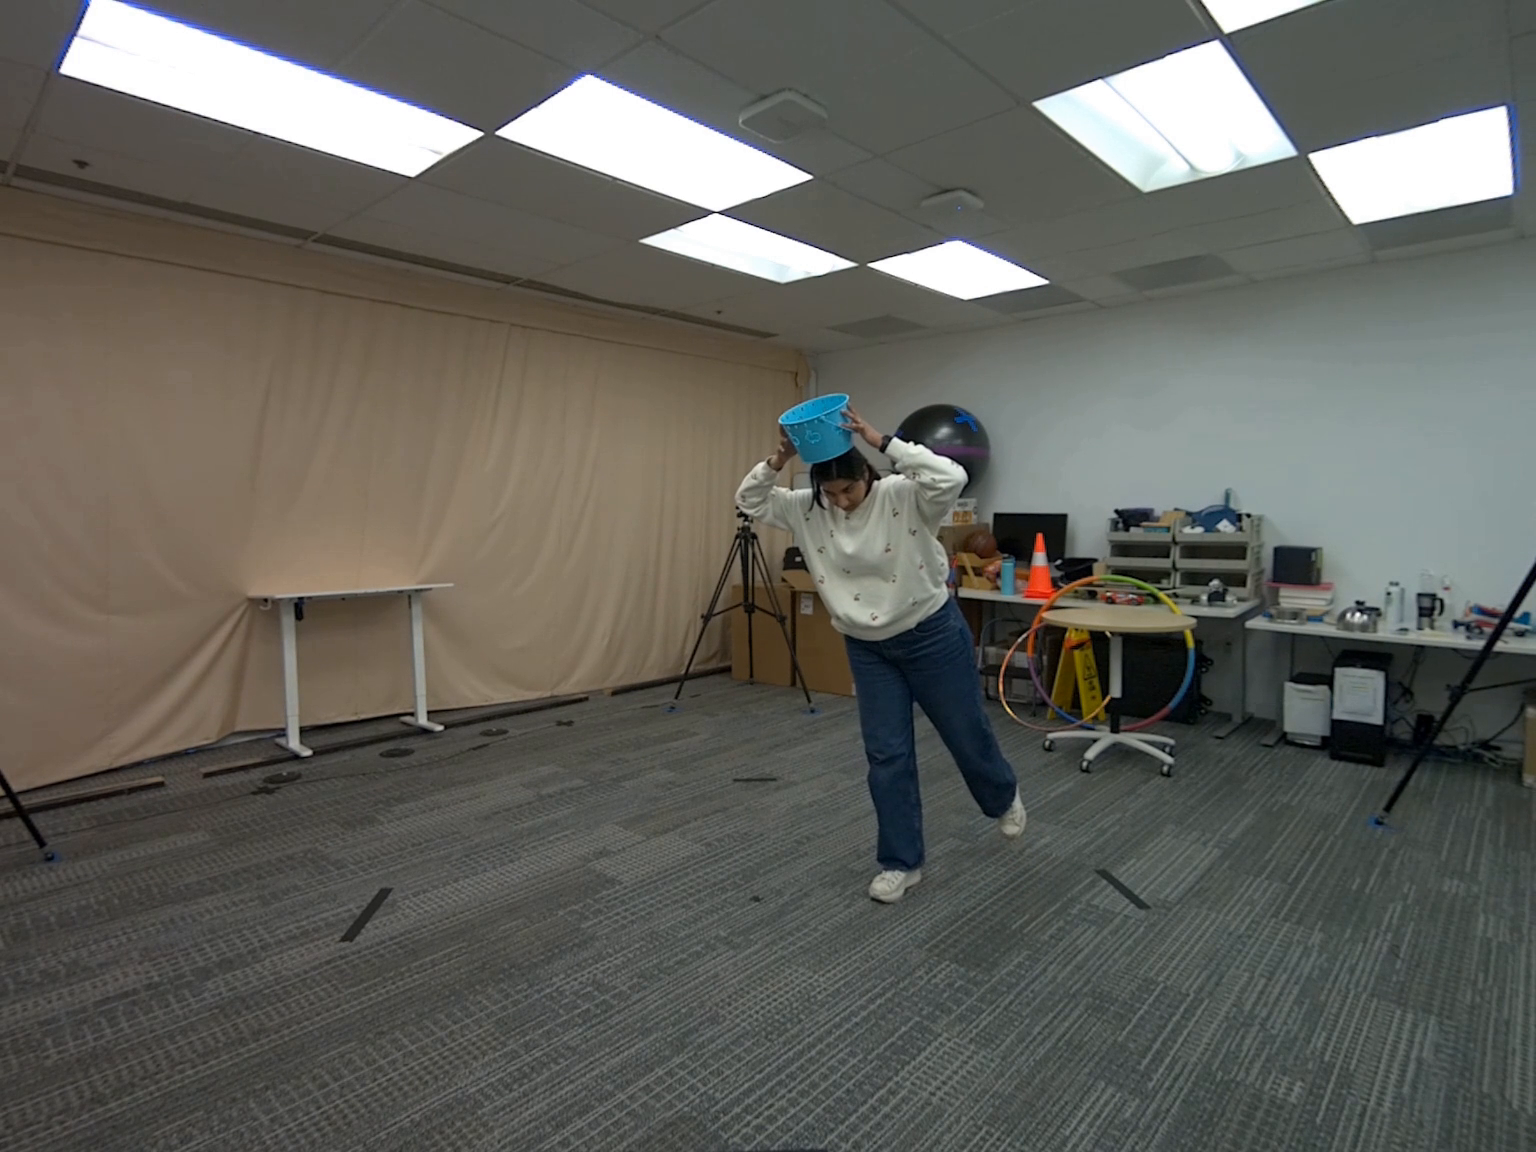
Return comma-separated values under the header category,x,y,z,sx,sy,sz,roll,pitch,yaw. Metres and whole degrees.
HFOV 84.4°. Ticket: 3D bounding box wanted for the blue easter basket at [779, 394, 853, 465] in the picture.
category,x,y,z,sx,sy,sz,roll,pitch,yaw
blue easter basket,0.181,-0.473,2.716,0.245,0.153,0.247,-21,21,6
